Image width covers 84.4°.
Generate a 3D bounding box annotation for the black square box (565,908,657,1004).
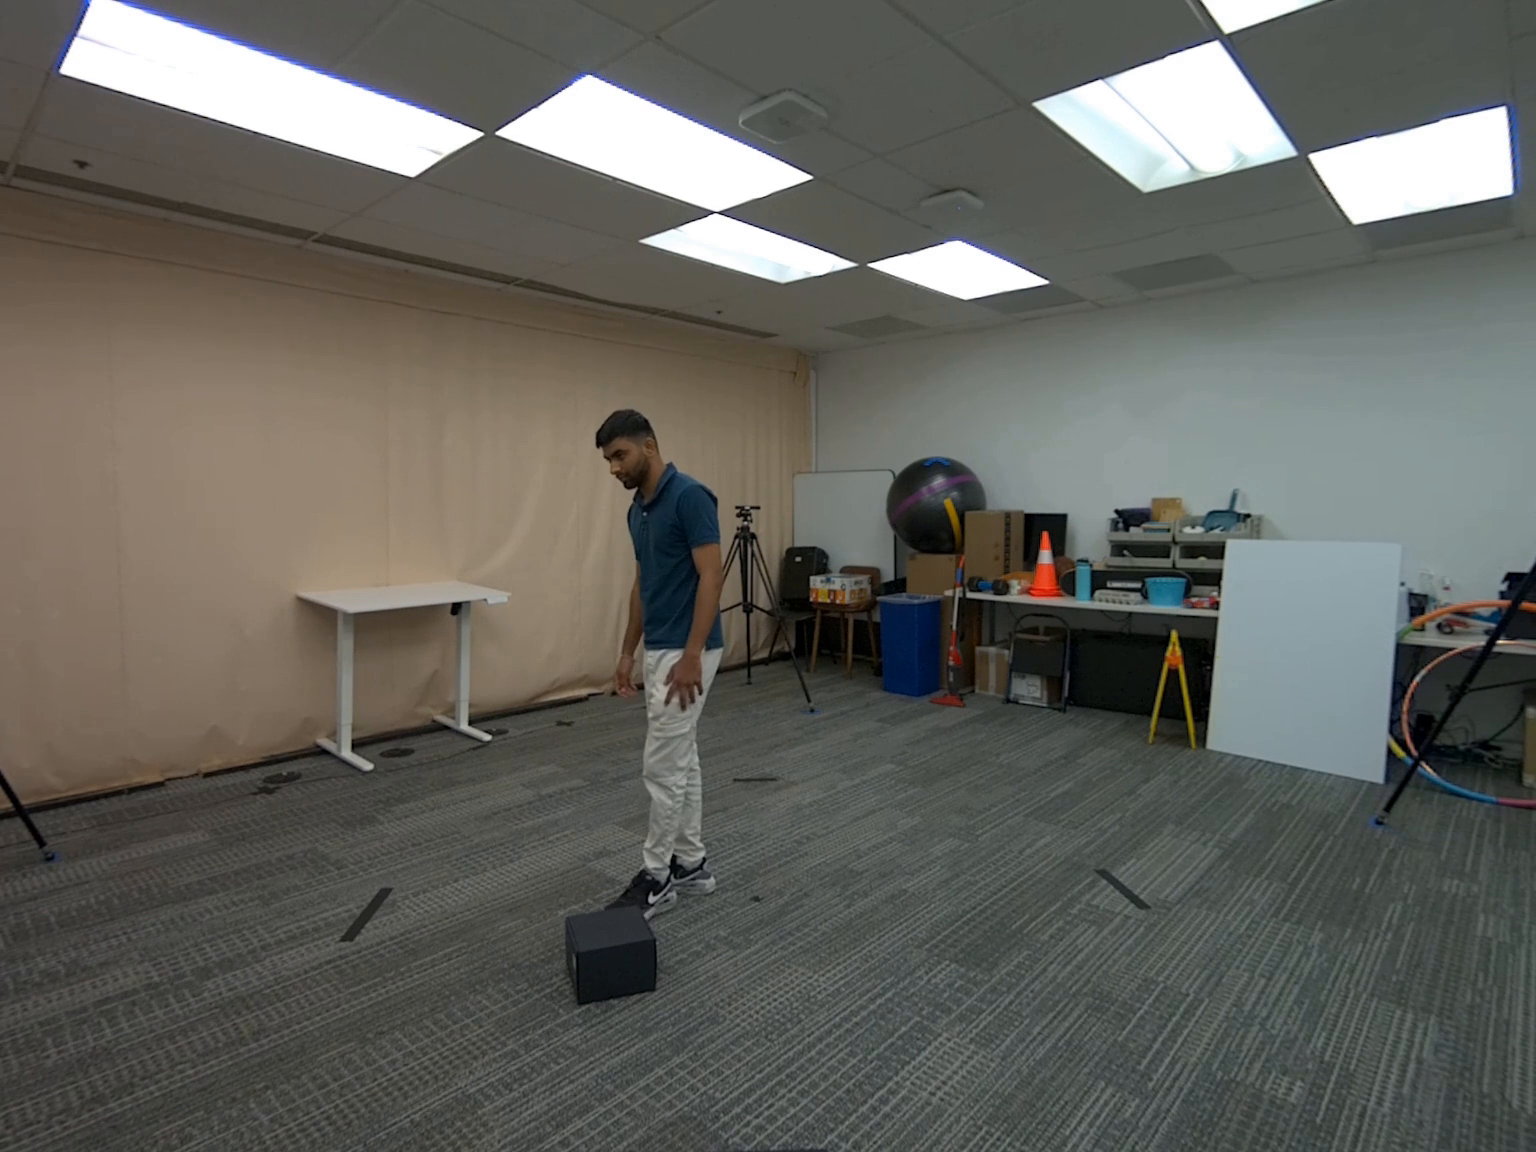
[{"bbox_3d":[-0.469,1.108,2.473,0.223,0.155,0.222,-1,4,-21],"label":"black square box"}]
